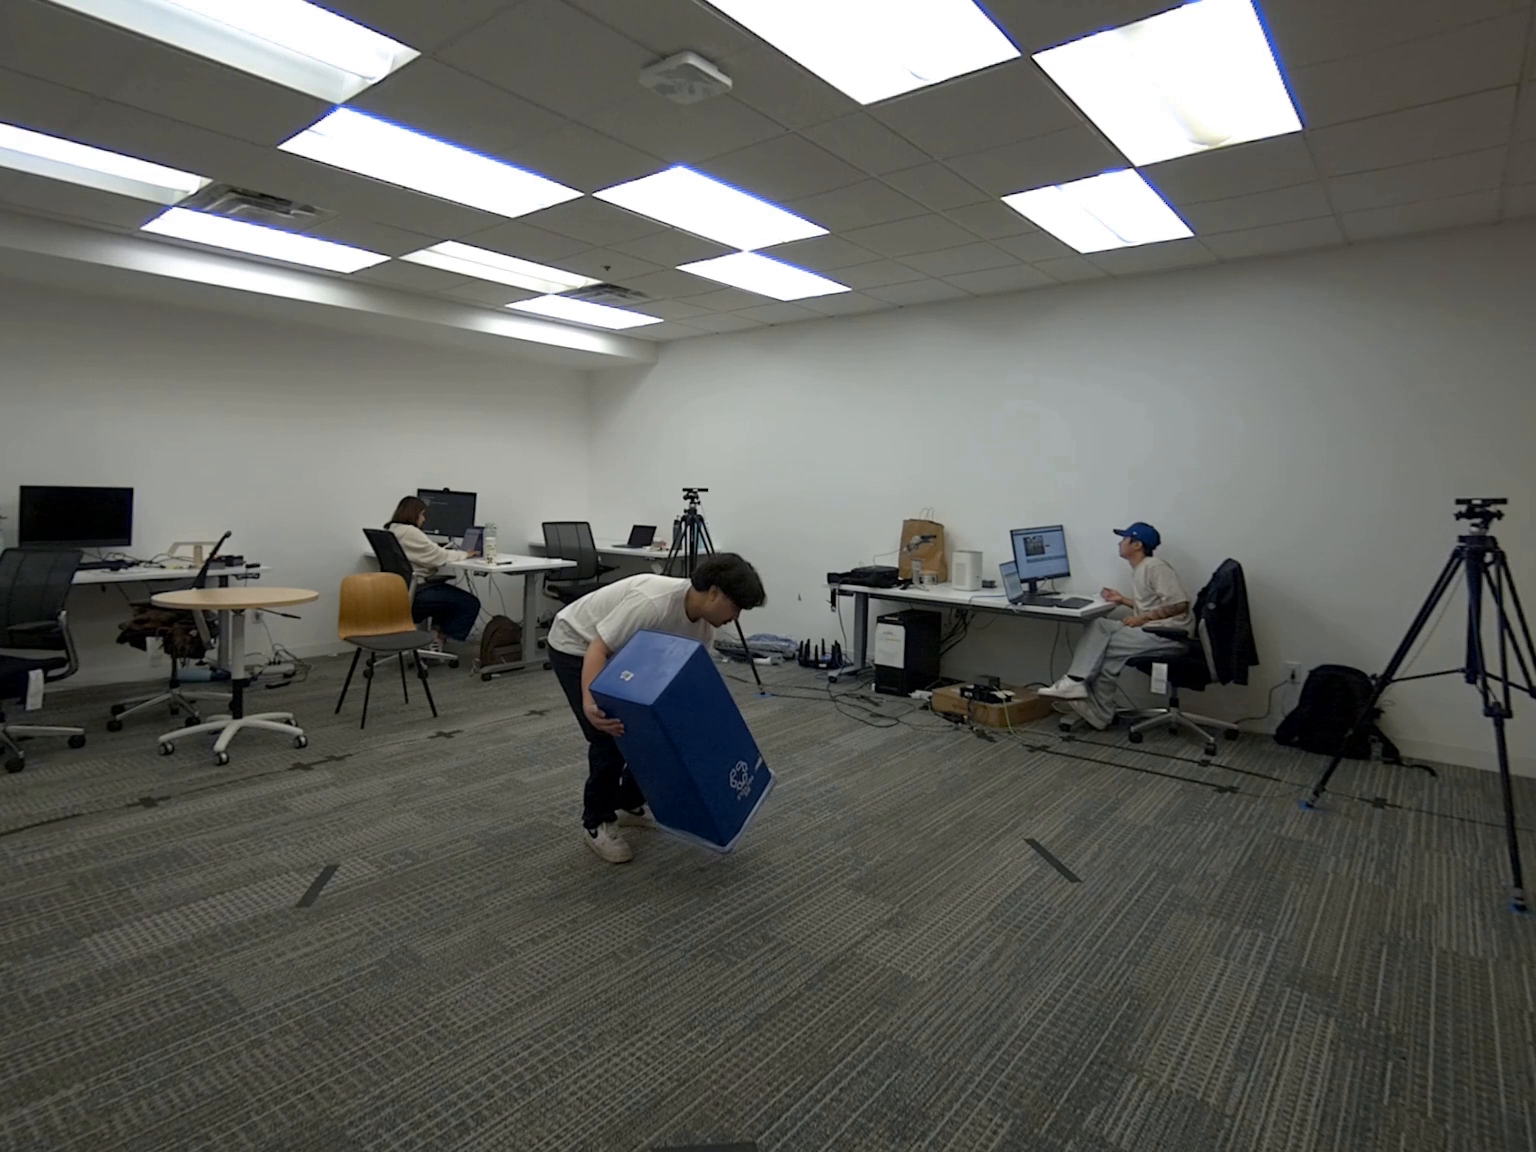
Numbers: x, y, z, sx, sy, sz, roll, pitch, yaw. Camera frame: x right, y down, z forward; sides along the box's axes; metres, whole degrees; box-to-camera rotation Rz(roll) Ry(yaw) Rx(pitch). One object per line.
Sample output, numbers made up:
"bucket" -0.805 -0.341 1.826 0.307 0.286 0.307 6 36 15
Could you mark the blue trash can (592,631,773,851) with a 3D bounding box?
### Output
"blue trash can" -0.314 0.575 2.988 0.391 0.689 0.374 6 41 38
